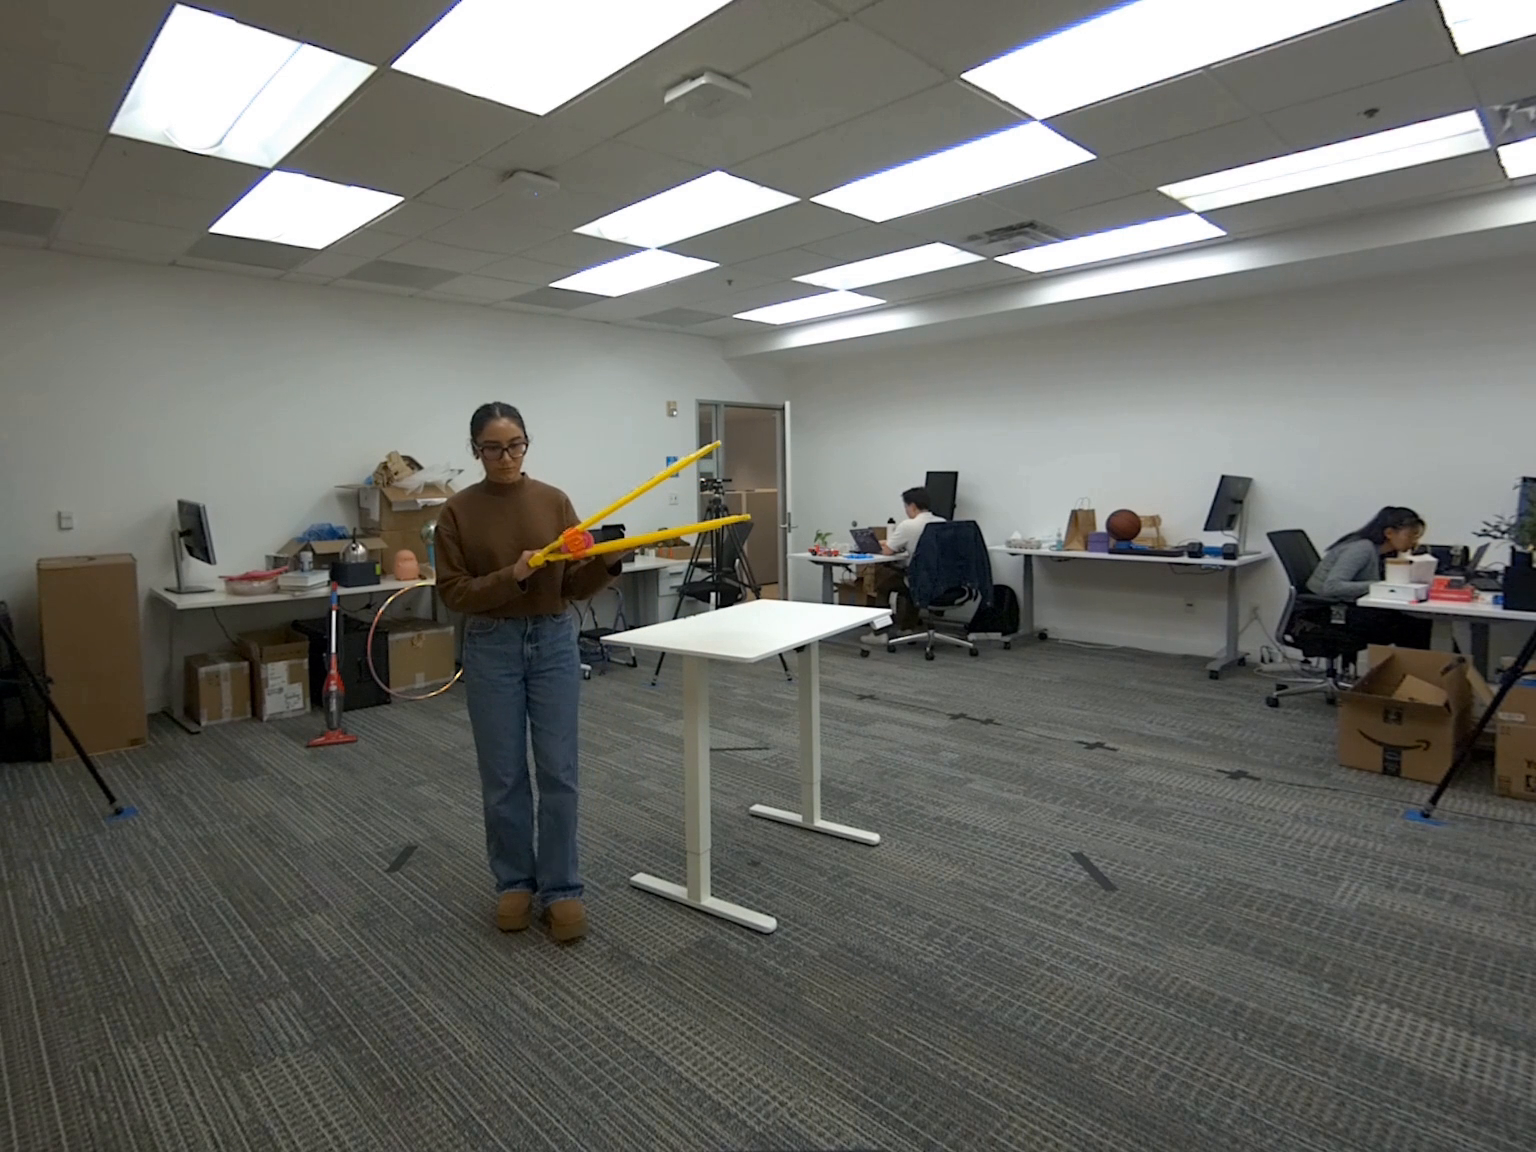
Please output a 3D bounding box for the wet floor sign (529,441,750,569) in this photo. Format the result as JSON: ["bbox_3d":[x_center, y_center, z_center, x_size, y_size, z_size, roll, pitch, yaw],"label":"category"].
[{"bbox_3d":[-0.408,-0.162,2.552,0.643,0.288,0.285,-22,7,-8],"label":"wet floor sign"}]
